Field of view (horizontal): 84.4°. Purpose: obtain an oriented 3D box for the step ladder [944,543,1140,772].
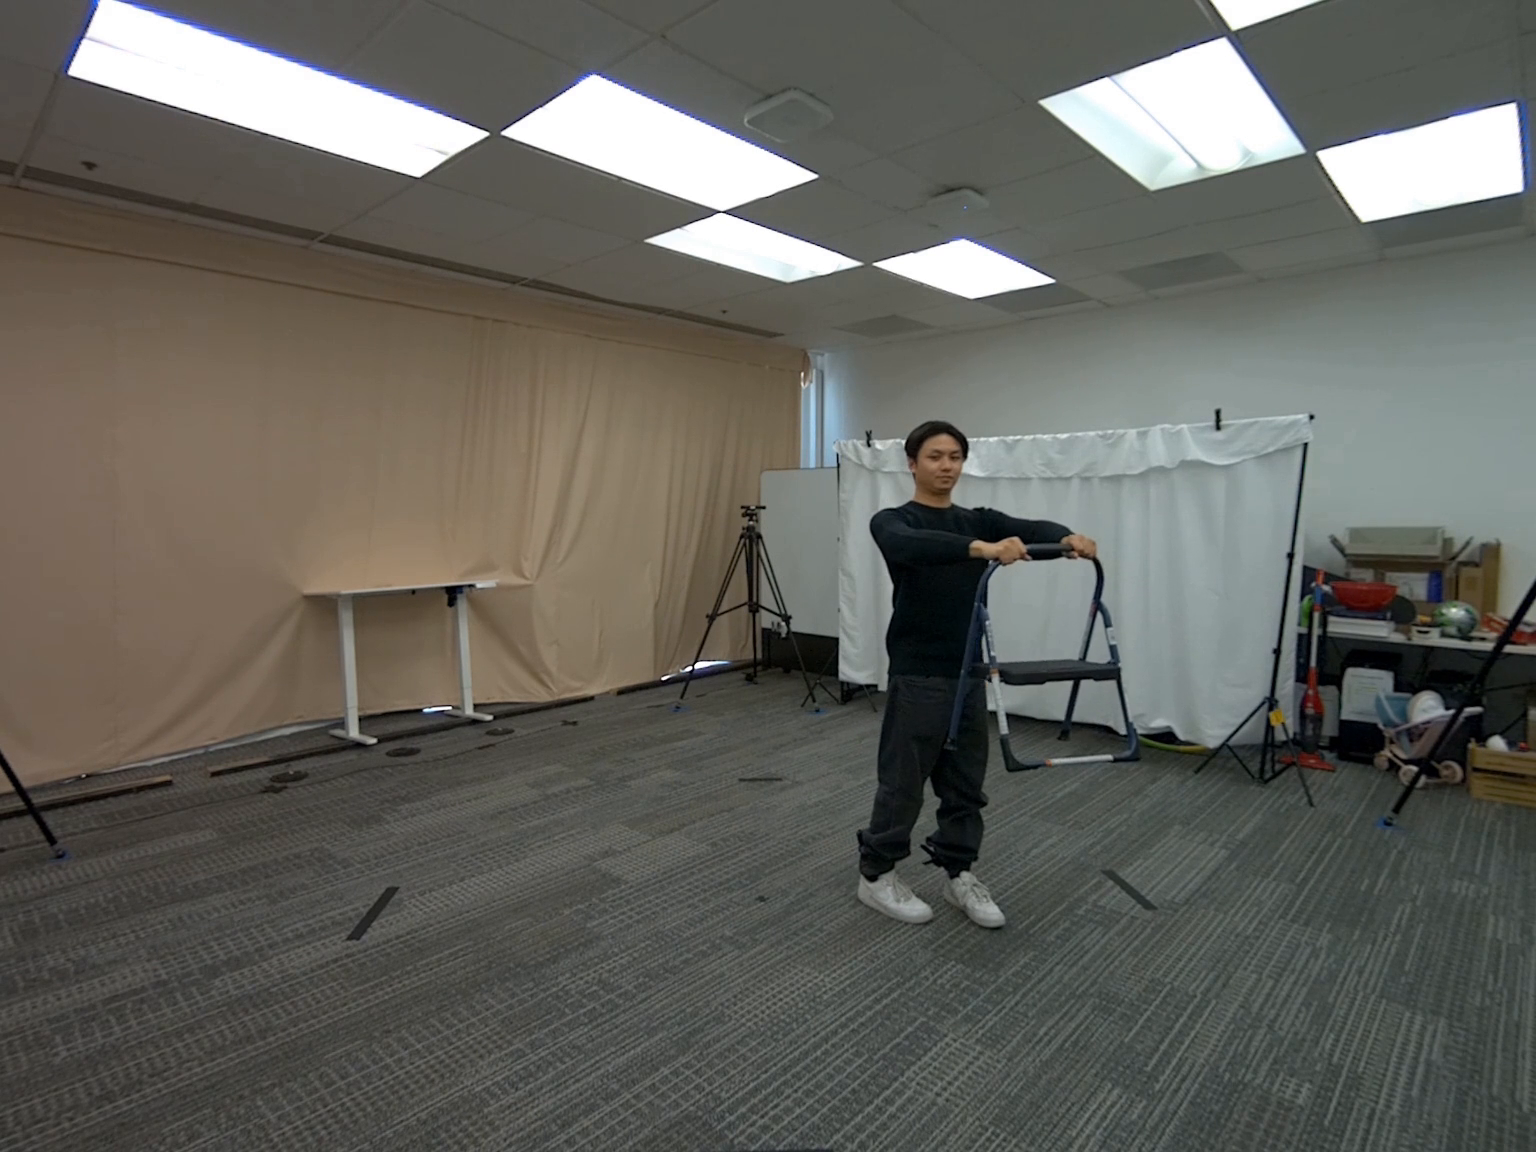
[{"bbox_3d":[0.784,0.217,2.444,0.424,0.606,0.355,-2,0,-16],"label":"step ladder"}]
